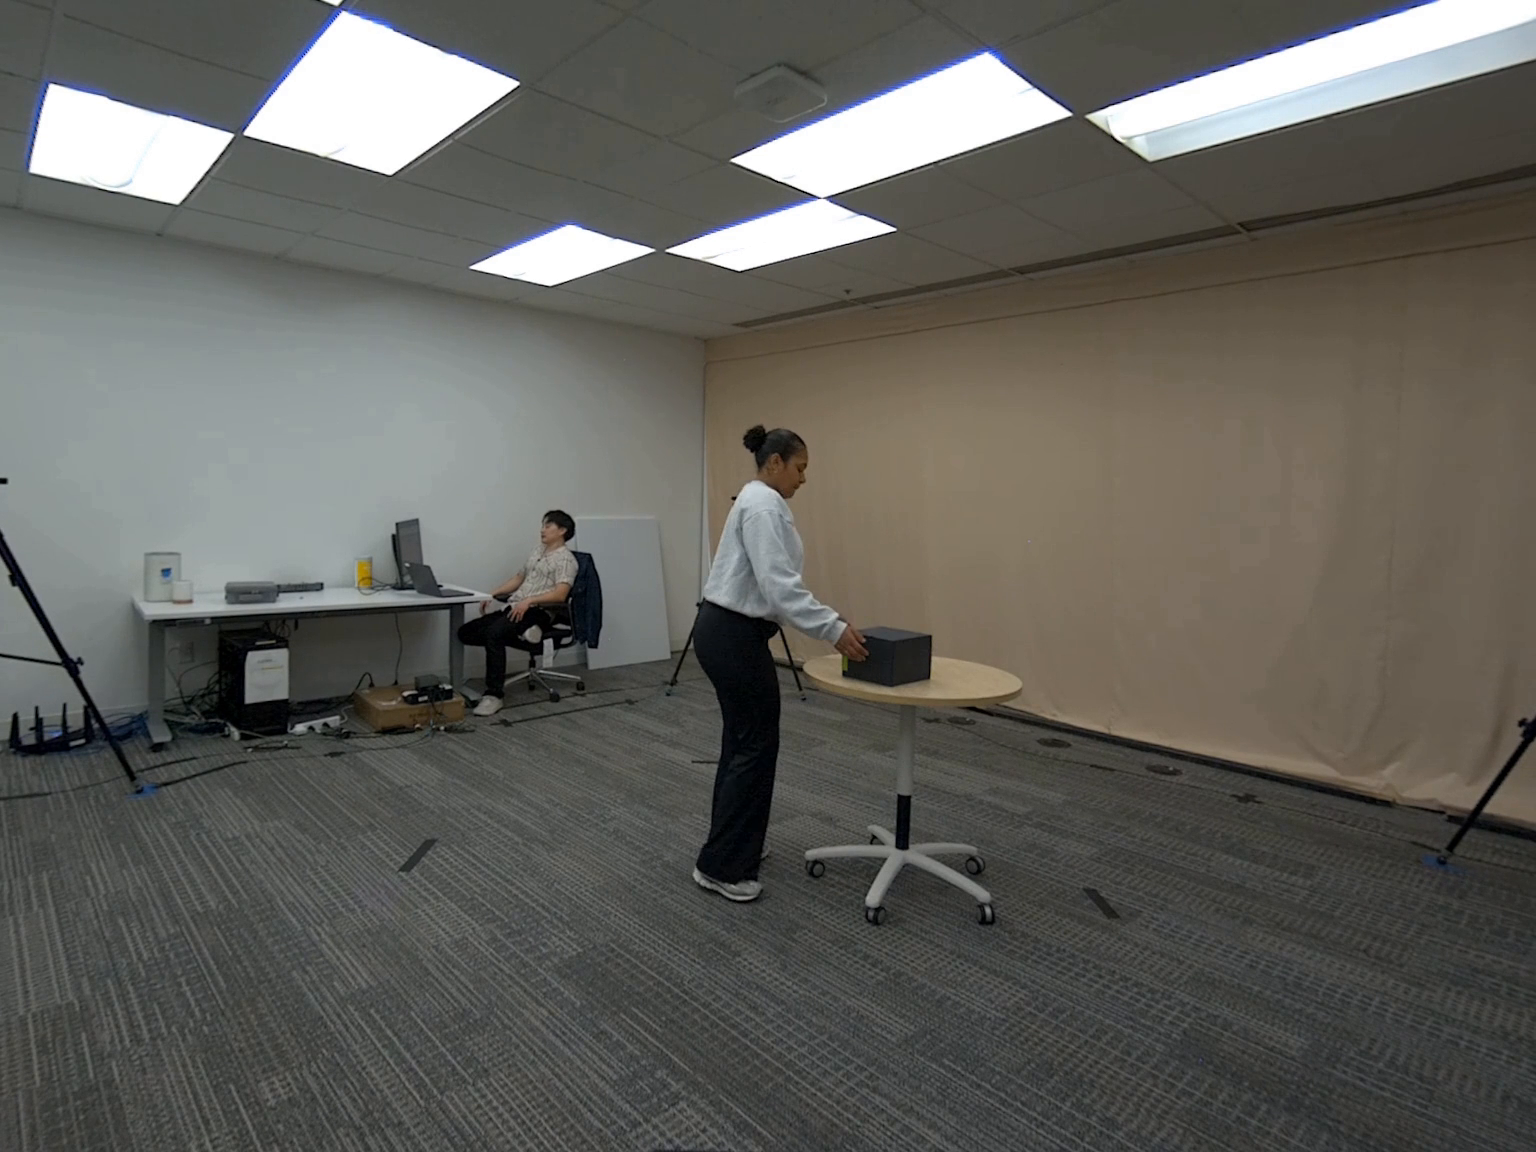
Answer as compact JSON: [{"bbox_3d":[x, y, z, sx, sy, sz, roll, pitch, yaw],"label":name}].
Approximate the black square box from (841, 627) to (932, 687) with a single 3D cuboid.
[{"bbox_3d":[0.407,0.273,2.922,0.222,0.155,0.223,-2,6,-44],"label":"black square box"}]
